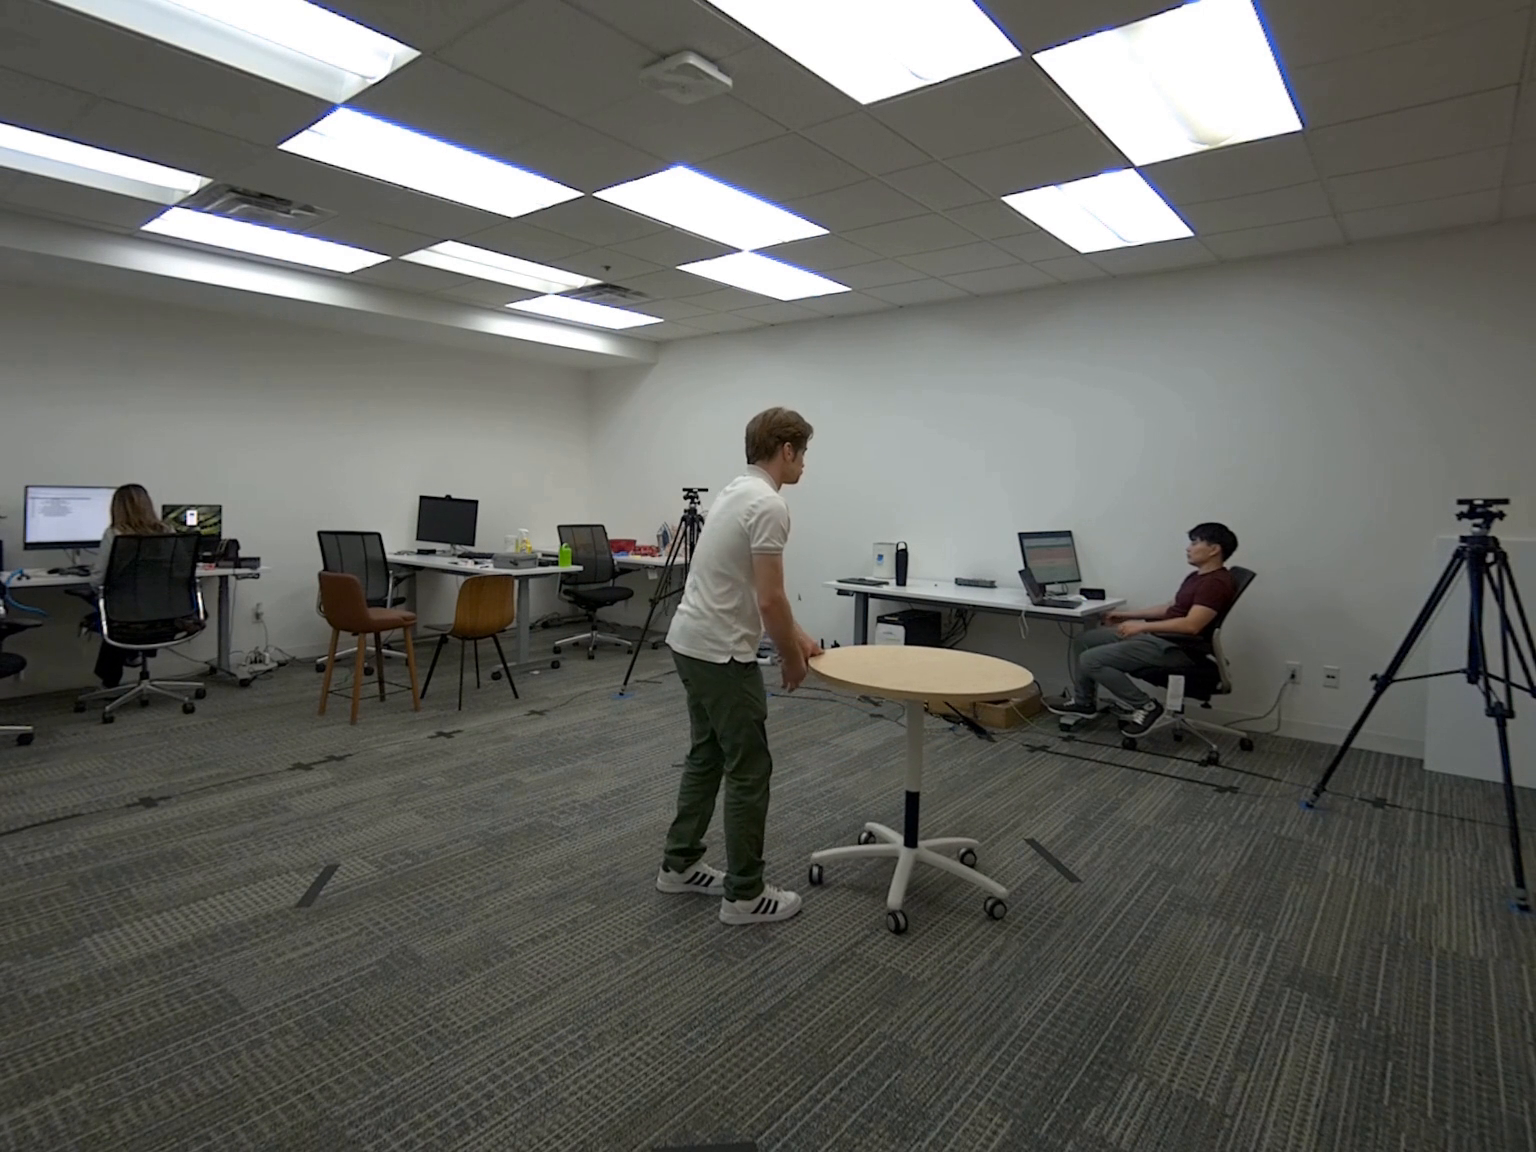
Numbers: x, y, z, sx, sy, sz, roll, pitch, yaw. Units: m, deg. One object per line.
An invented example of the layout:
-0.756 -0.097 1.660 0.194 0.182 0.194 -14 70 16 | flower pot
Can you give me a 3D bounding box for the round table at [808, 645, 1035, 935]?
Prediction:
0.507 0.708 3.000 0.763 0.791 0.768 1 5 -2 | round table
